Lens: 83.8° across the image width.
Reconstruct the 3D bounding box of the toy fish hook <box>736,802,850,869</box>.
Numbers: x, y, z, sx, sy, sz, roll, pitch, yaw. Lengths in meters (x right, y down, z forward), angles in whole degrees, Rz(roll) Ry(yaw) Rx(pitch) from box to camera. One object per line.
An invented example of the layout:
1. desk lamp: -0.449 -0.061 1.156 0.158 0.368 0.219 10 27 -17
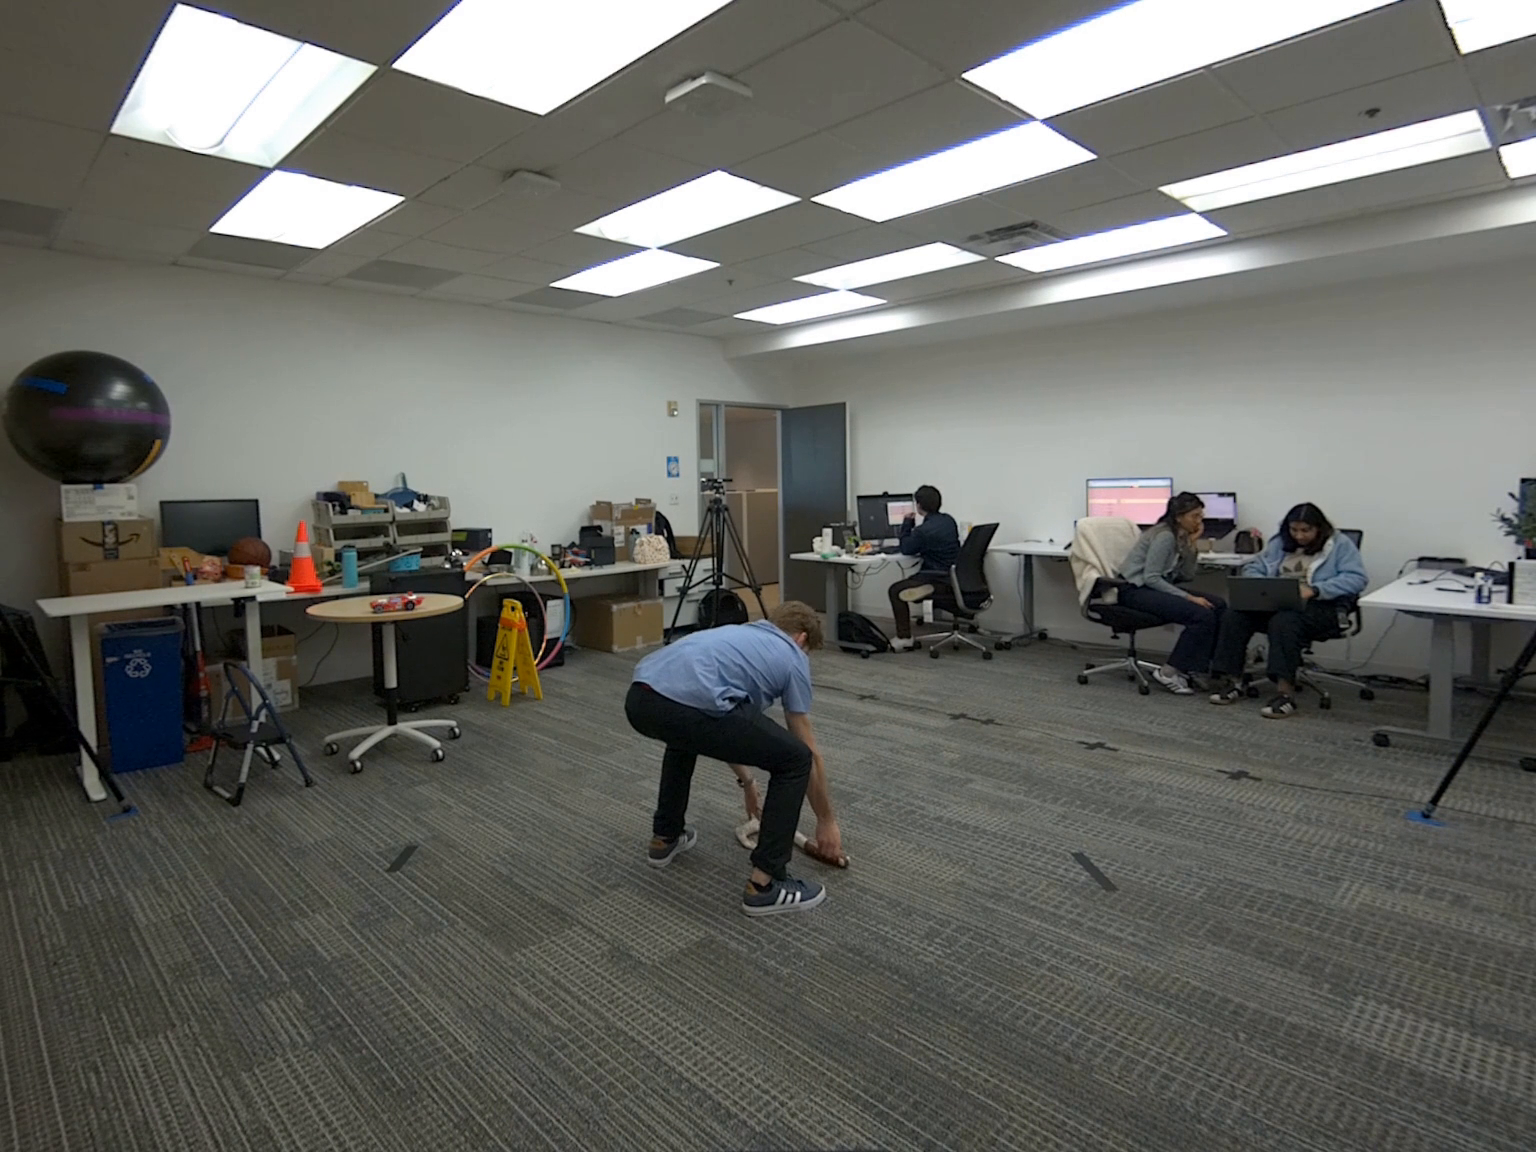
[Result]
1. toy fish hook: 0.078 1.016 3.204 0.220 0.048 0.522 -17 14 -38
